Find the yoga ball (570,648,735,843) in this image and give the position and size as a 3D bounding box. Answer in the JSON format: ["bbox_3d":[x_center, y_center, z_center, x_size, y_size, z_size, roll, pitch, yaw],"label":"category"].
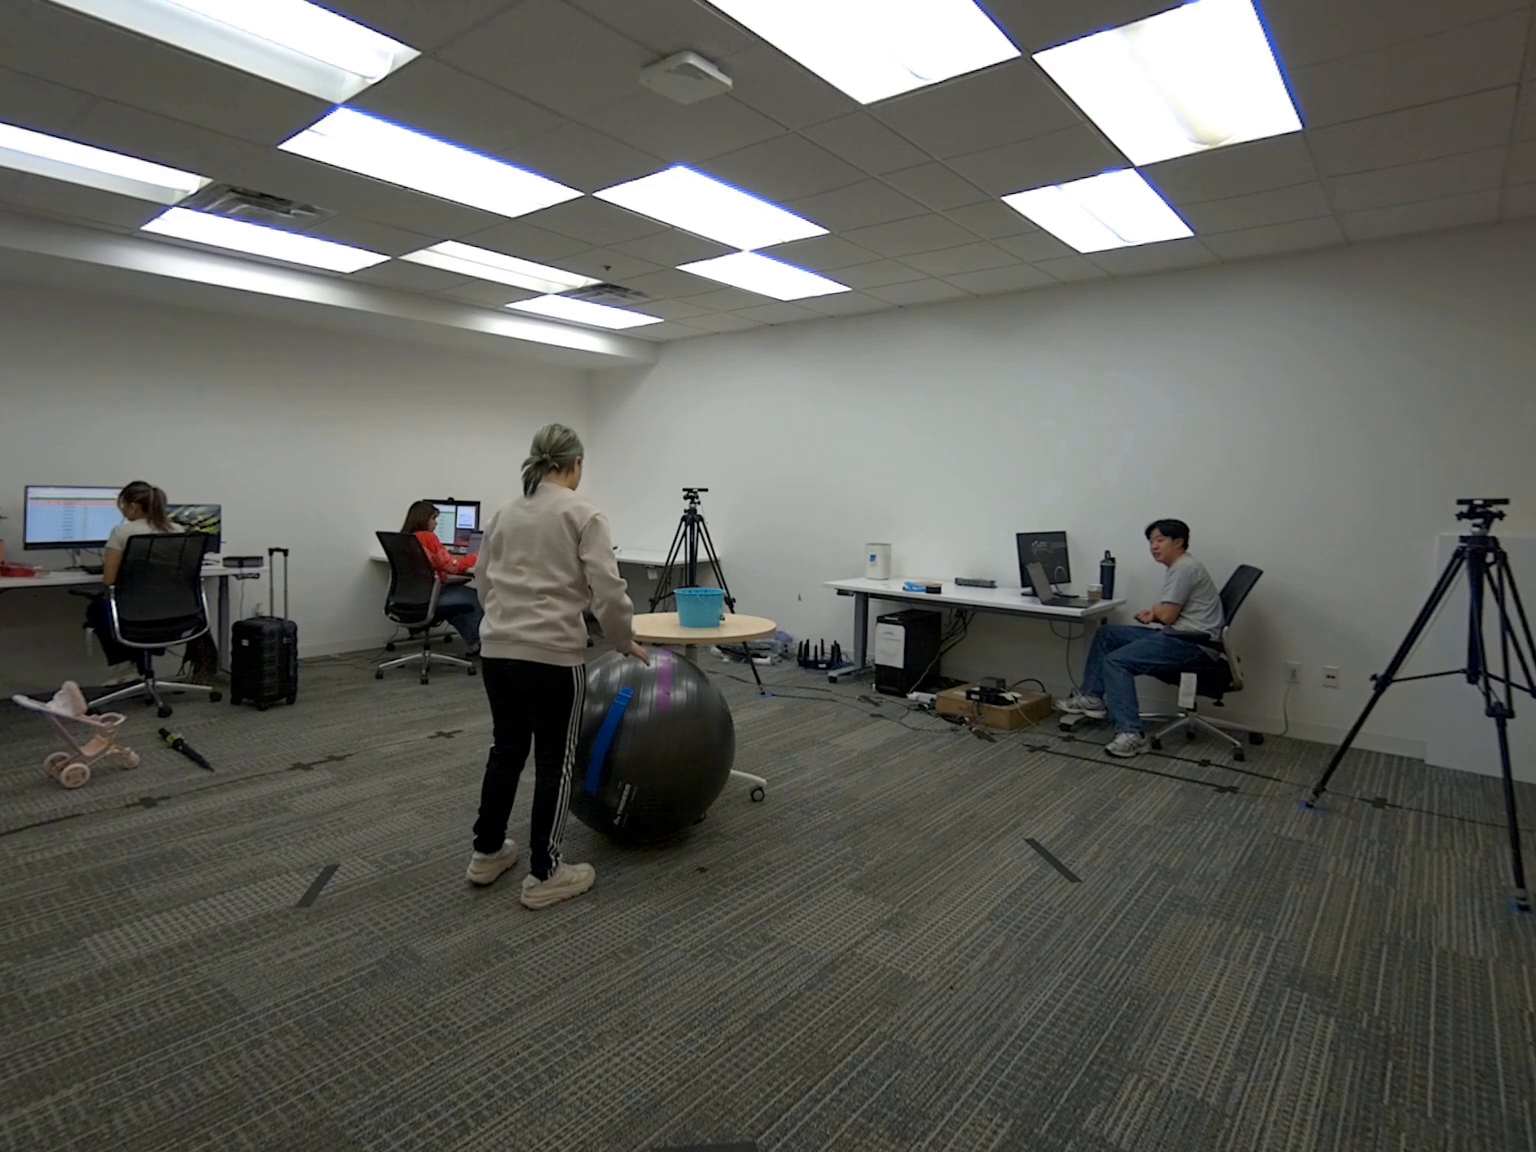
[{"bbox_3d":[-0.515,0.662,3.421,0.757,0.756,0.761,1,4,-2],"label":"yoga ball"}]
